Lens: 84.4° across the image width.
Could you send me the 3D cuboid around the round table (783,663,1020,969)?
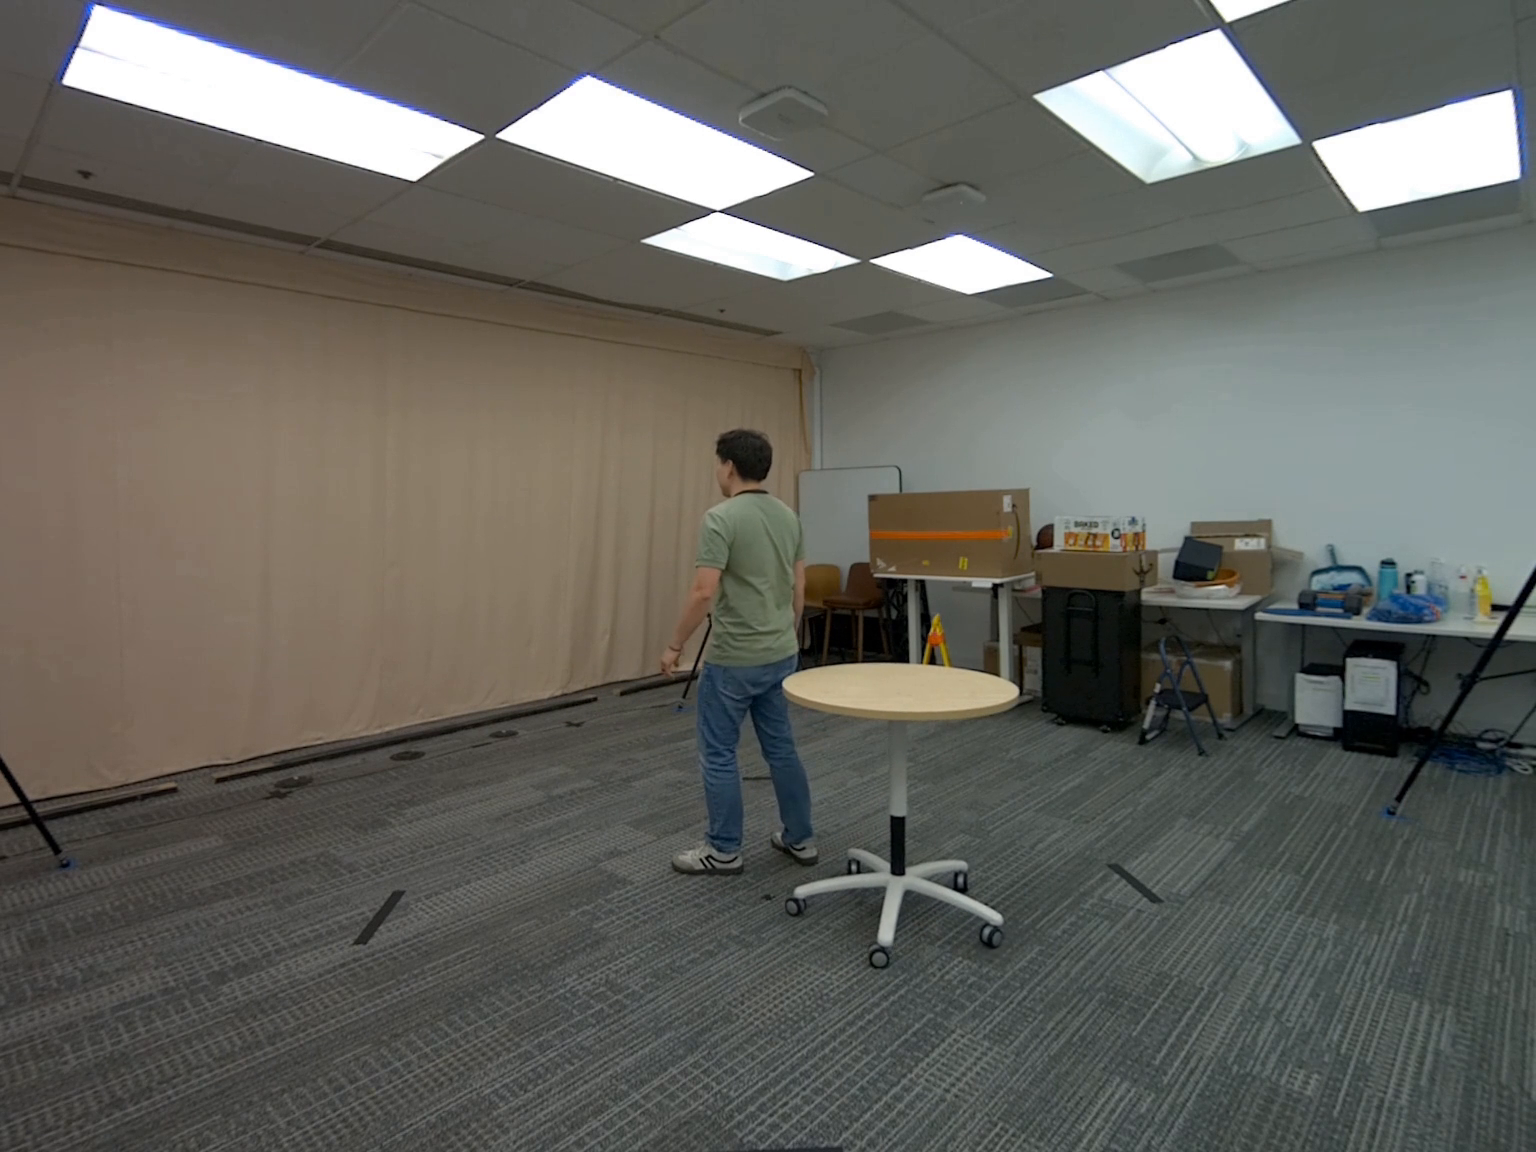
[{"bbox_3d":[0.437,0.754,2.826,0.763,0.792,0.766,-1,4,-2],"label":"round table"}]
